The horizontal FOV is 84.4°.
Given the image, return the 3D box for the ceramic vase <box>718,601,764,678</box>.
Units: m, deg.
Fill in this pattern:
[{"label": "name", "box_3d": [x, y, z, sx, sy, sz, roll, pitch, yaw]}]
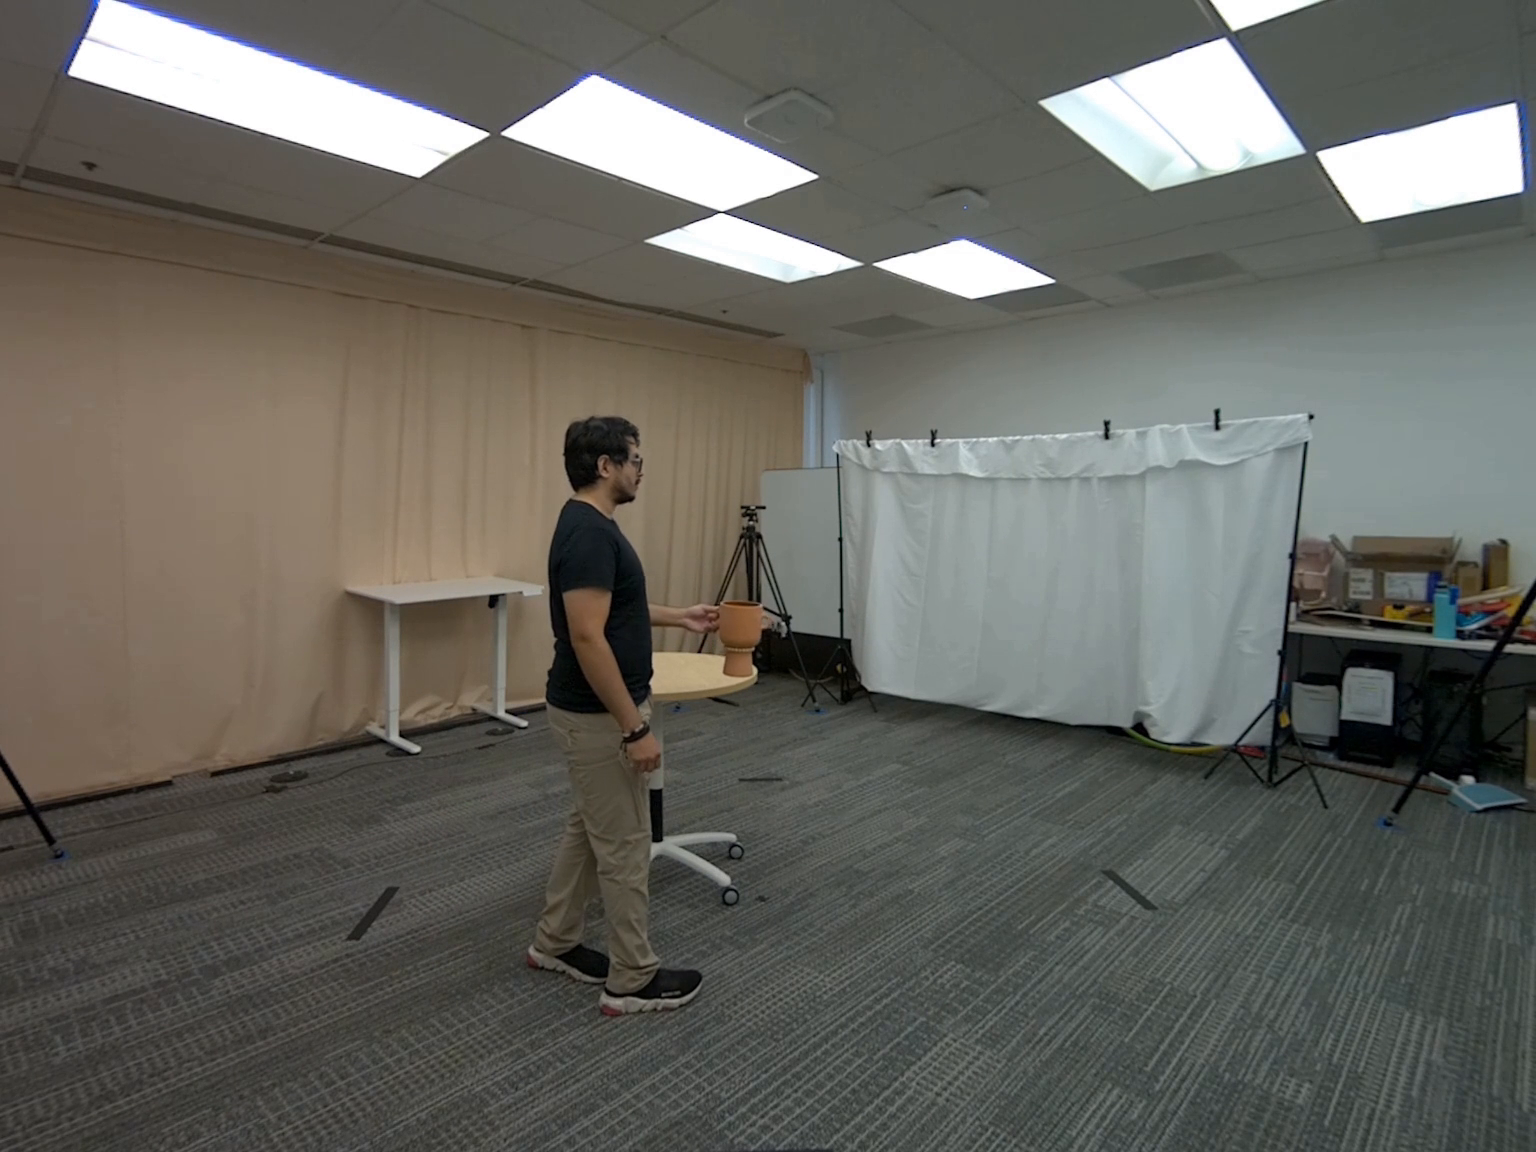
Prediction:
[{"label": "ceramic vase", "box_3d": [-0.088, 0.199, 2.600, 0.130, 0.219, 0.164, 0, 6, -41]}]
